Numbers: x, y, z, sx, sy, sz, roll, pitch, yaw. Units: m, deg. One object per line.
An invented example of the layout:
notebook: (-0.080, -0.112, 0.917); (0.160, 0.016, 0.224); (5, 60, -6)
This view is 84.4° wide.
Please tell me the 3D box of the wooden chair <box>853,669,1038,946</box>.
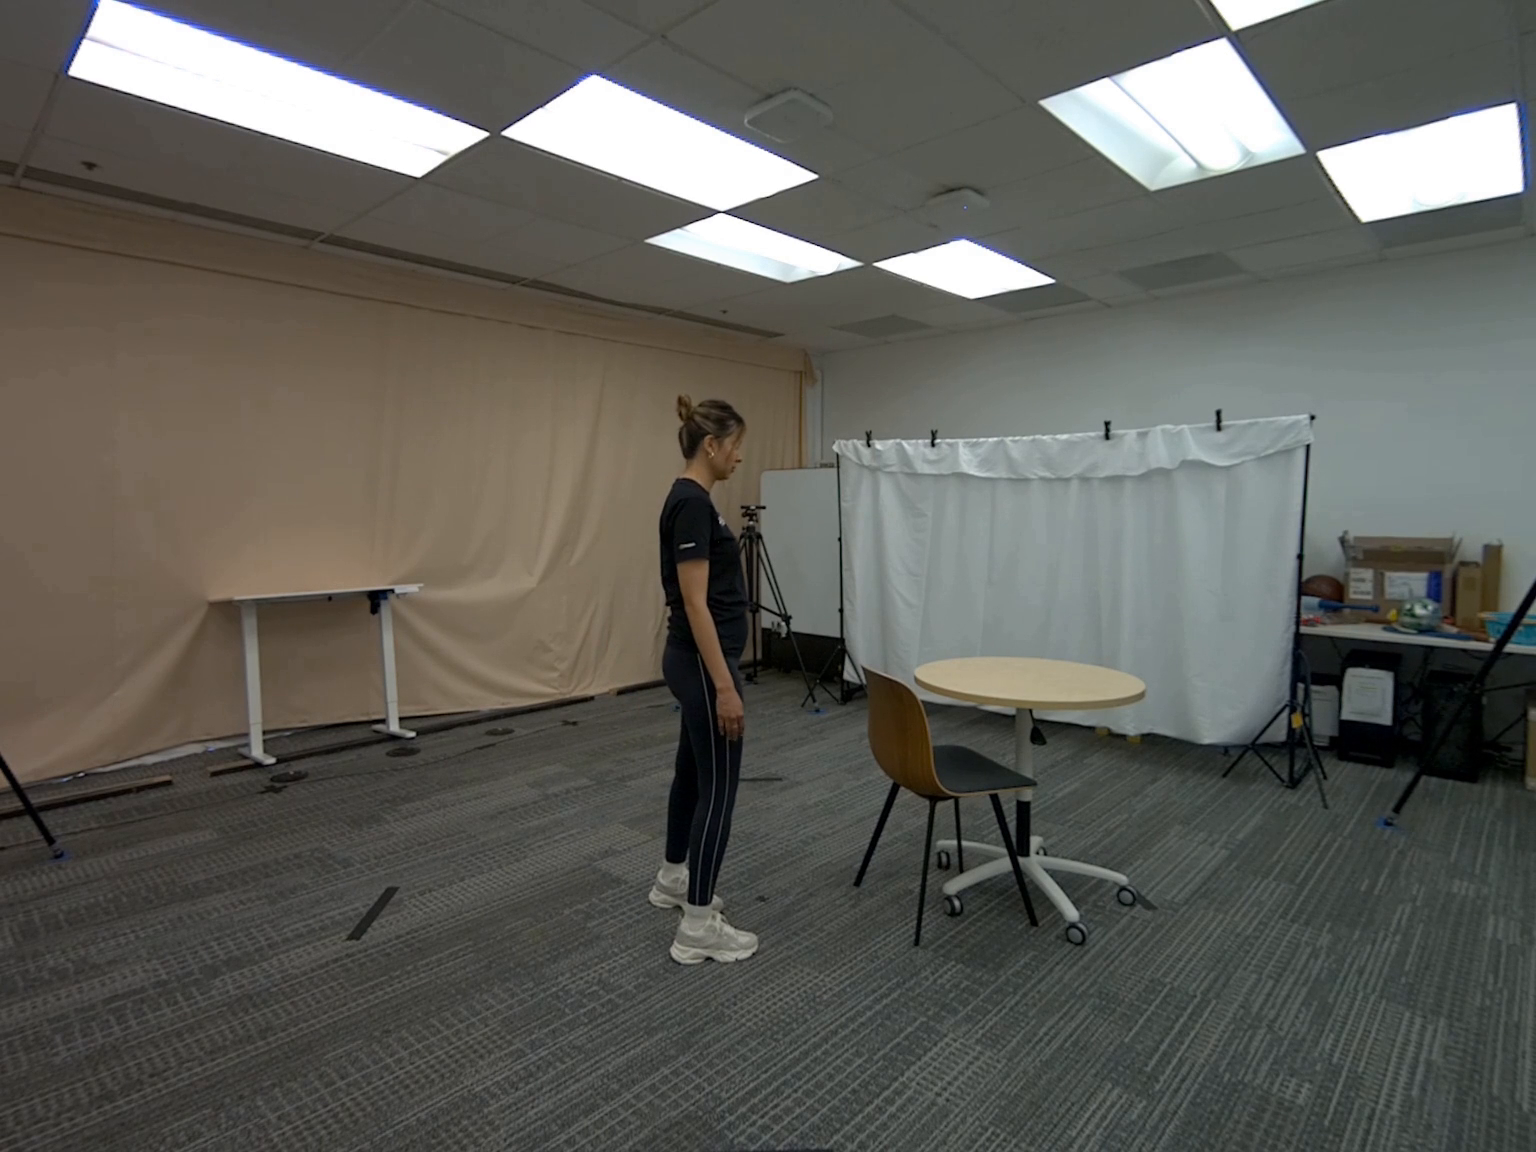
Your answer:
wooden chair: (0.612, 0.720, 2.905); (0.514, 0.875, 0.488); (-5, 4, -18)
